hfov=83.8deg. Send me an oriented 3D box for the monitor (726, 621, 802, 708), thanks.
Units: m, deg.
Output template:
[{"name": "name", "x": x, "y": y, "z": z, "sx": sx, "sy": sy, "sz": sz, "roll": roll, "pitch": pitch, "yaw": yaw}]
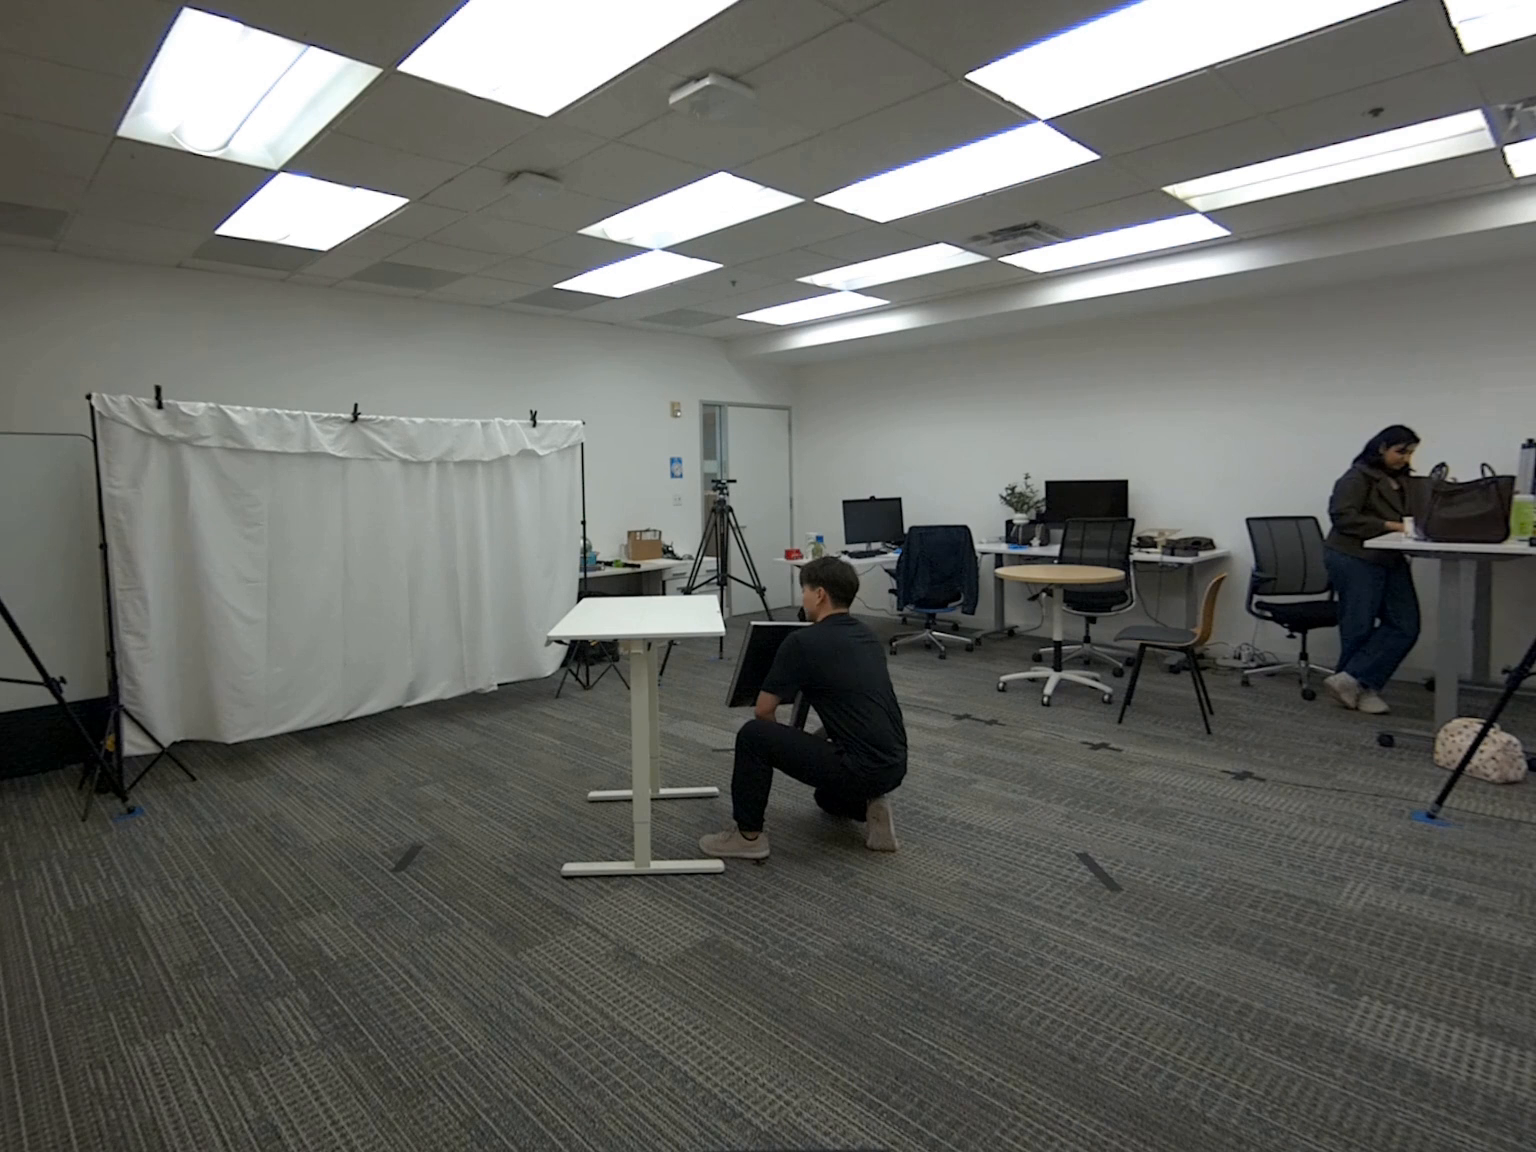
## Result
[{"name": "monitor", "x": 0.114, "y": 0.452, "z": 3.460, "sx": 0.523, "sy": 0.521, "sz": 0.193, "roll": 5, "pitch": 5, "yaw": -40}]
